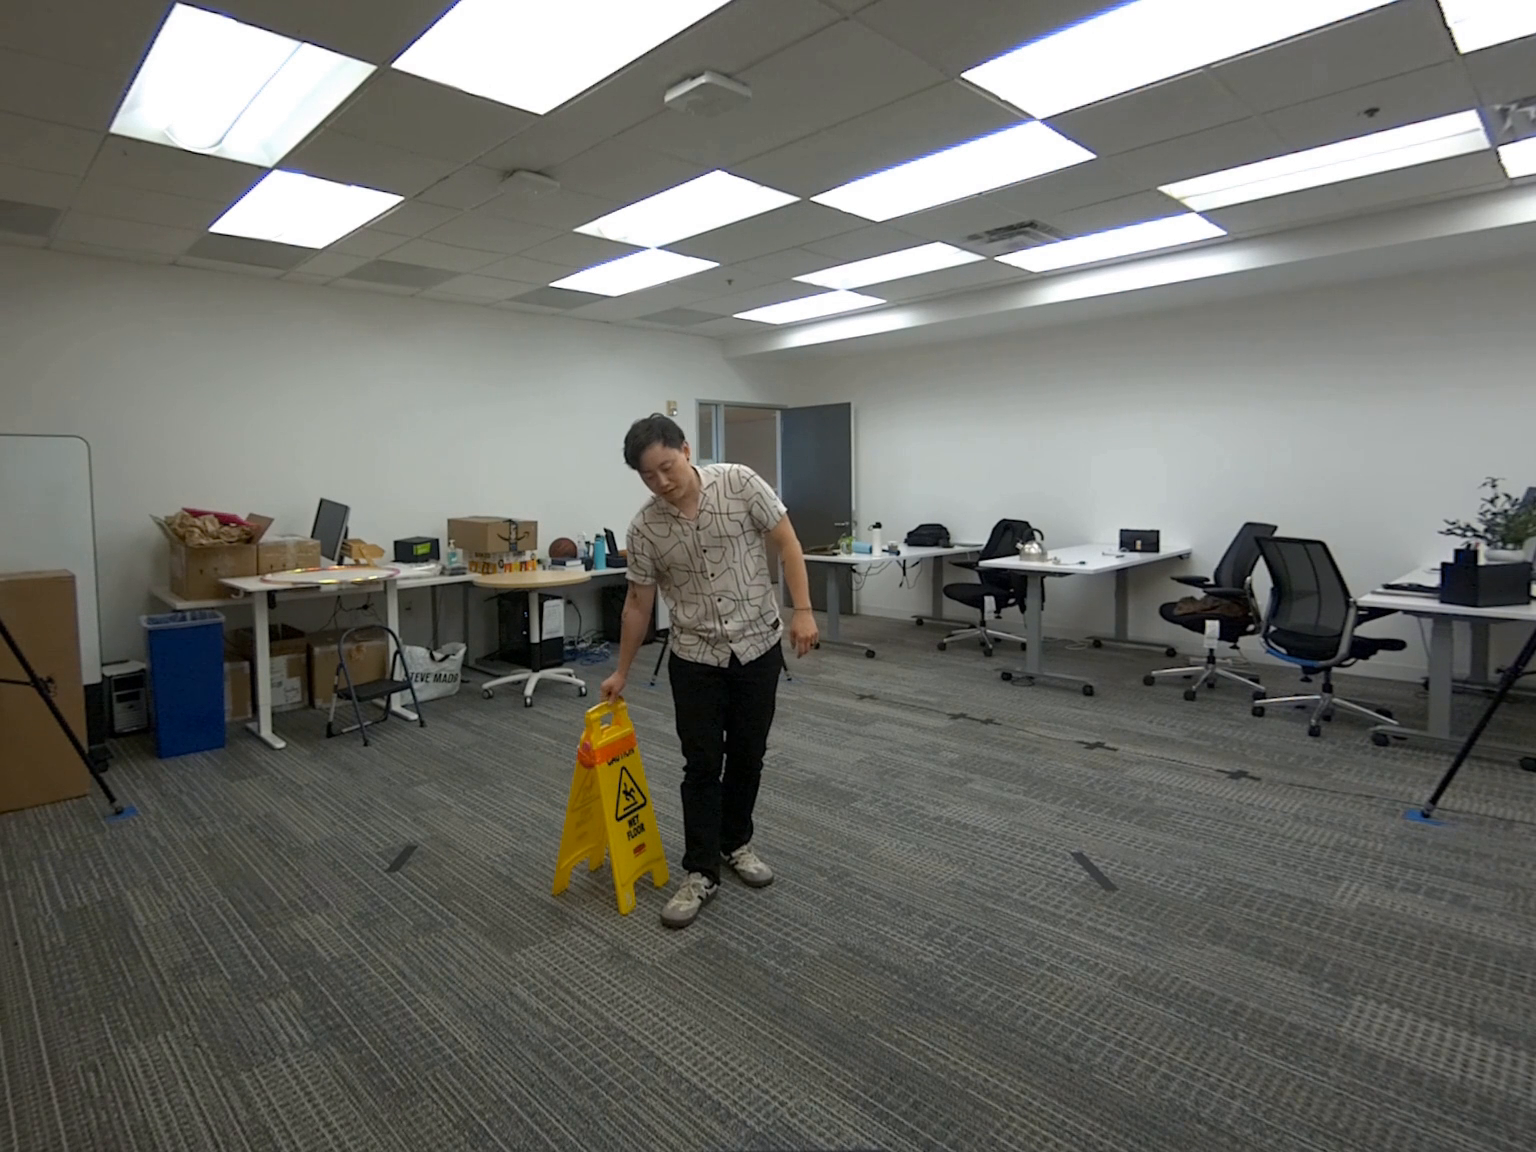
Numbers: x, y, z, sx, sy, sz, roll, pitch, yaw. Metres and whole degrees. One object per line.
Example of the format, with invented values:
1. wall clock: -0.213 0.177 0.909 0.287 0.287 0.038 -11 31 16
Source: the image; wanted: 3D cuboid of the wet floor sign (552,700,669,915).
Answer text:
1. wet floor sign: -0.538 0.750 2.913 0.297 0.643 0.277 2 7 28
